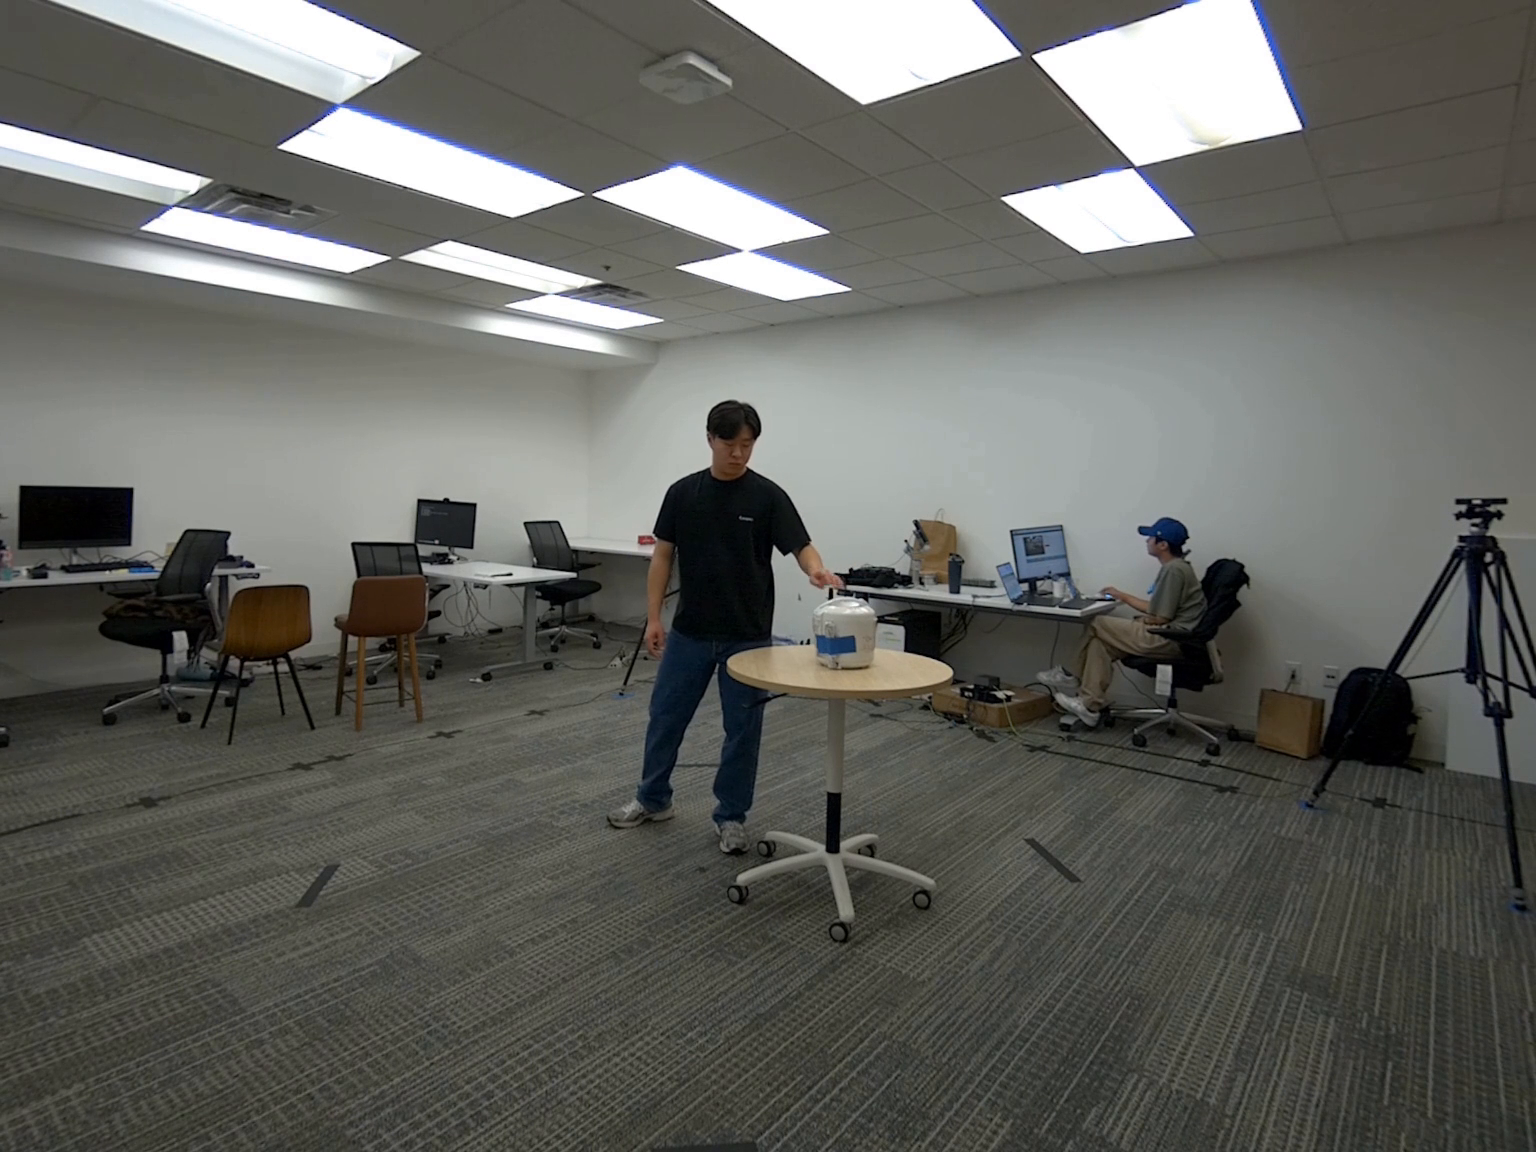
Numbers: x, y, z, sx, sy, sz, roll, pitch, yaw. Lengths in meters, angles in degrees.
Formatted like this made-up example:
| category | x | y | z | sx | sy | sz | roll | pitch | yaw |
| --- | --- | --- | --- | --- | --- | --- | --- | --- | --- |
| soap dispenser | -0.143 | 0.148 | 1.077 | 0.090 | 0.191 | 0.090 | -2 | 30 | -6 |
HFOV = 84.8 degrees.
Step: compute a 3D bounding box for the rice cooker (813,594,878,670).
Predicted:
| category | x | y | z | sx | sy | sz | roll | pitch | yaw |
| --- | --- | --- | --- | --- | --- | --- | --- | --- | --- |
| rice cooker | 0.256 | 0.186 | 2.933 | 0.217 | 0.232 | 0.222 | 1 | 4 | -16 |
